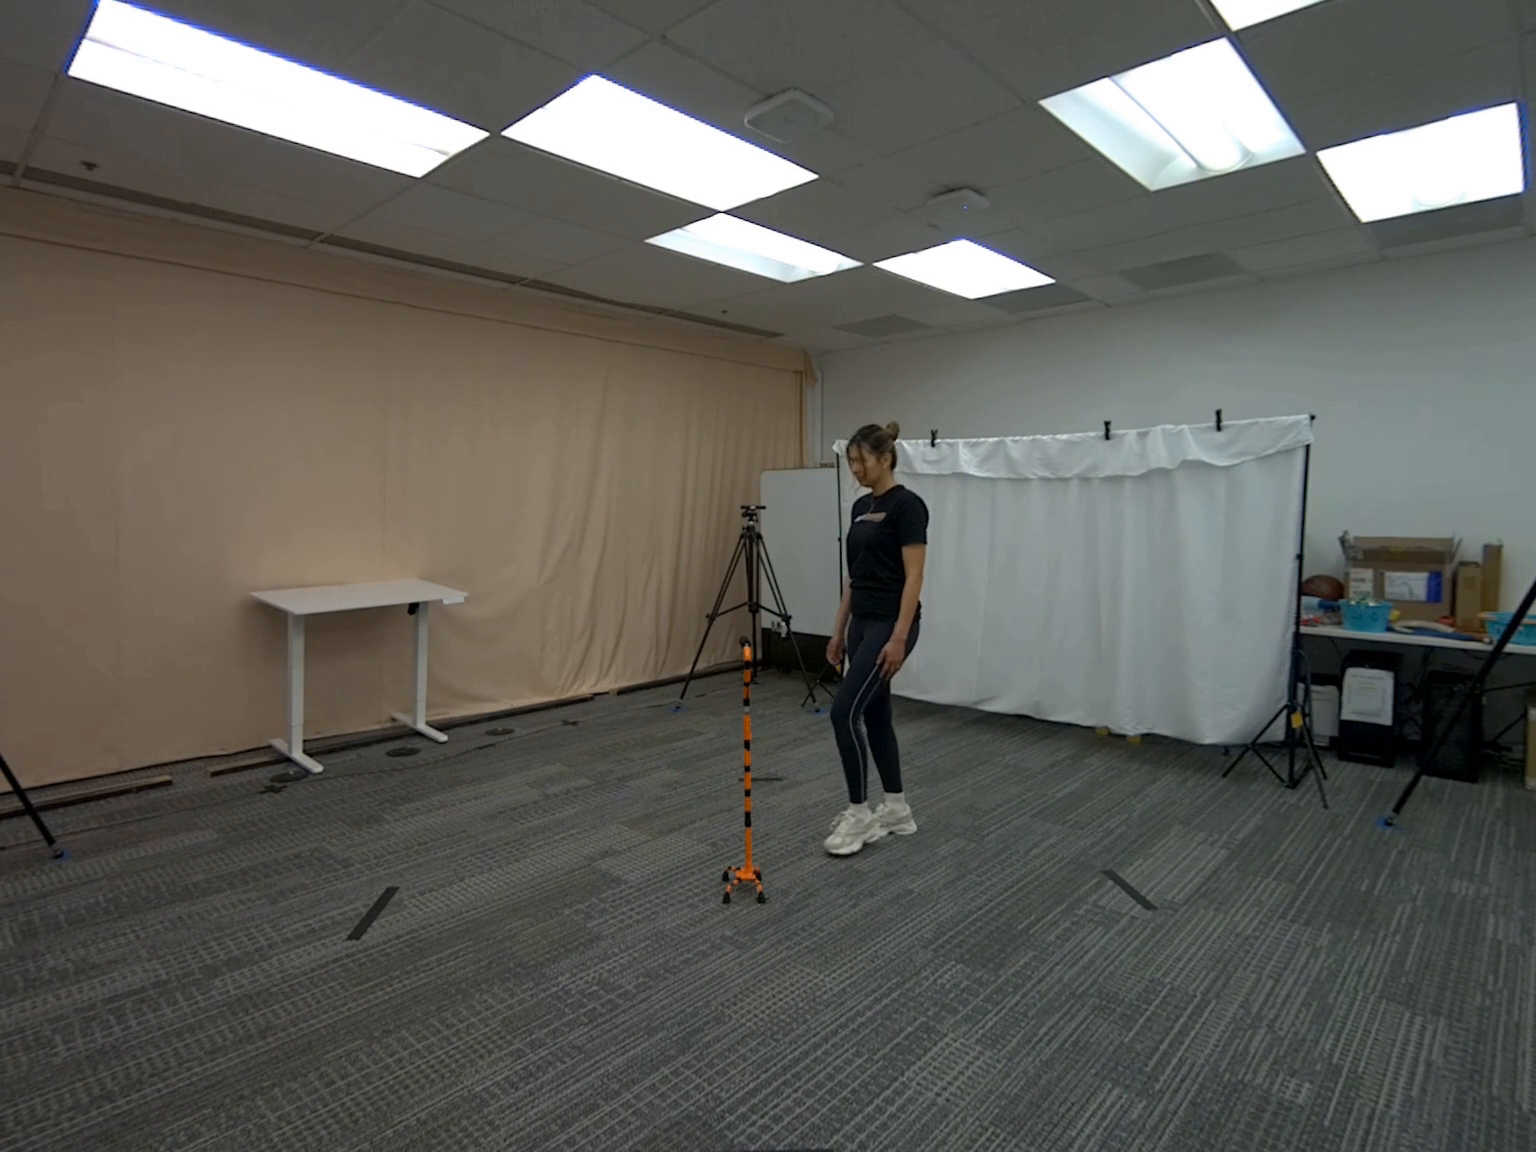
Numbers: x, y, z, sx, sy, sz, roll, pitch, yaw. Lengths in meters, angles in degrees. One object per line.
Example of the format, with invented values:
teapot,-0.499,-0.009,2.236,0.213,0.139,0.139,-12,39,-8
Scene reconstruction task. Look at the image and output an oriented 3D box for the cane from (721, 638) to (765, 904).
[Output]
cane,-0.087,0.687,3.019,0.151,0.906,0.207,0,3,-4
